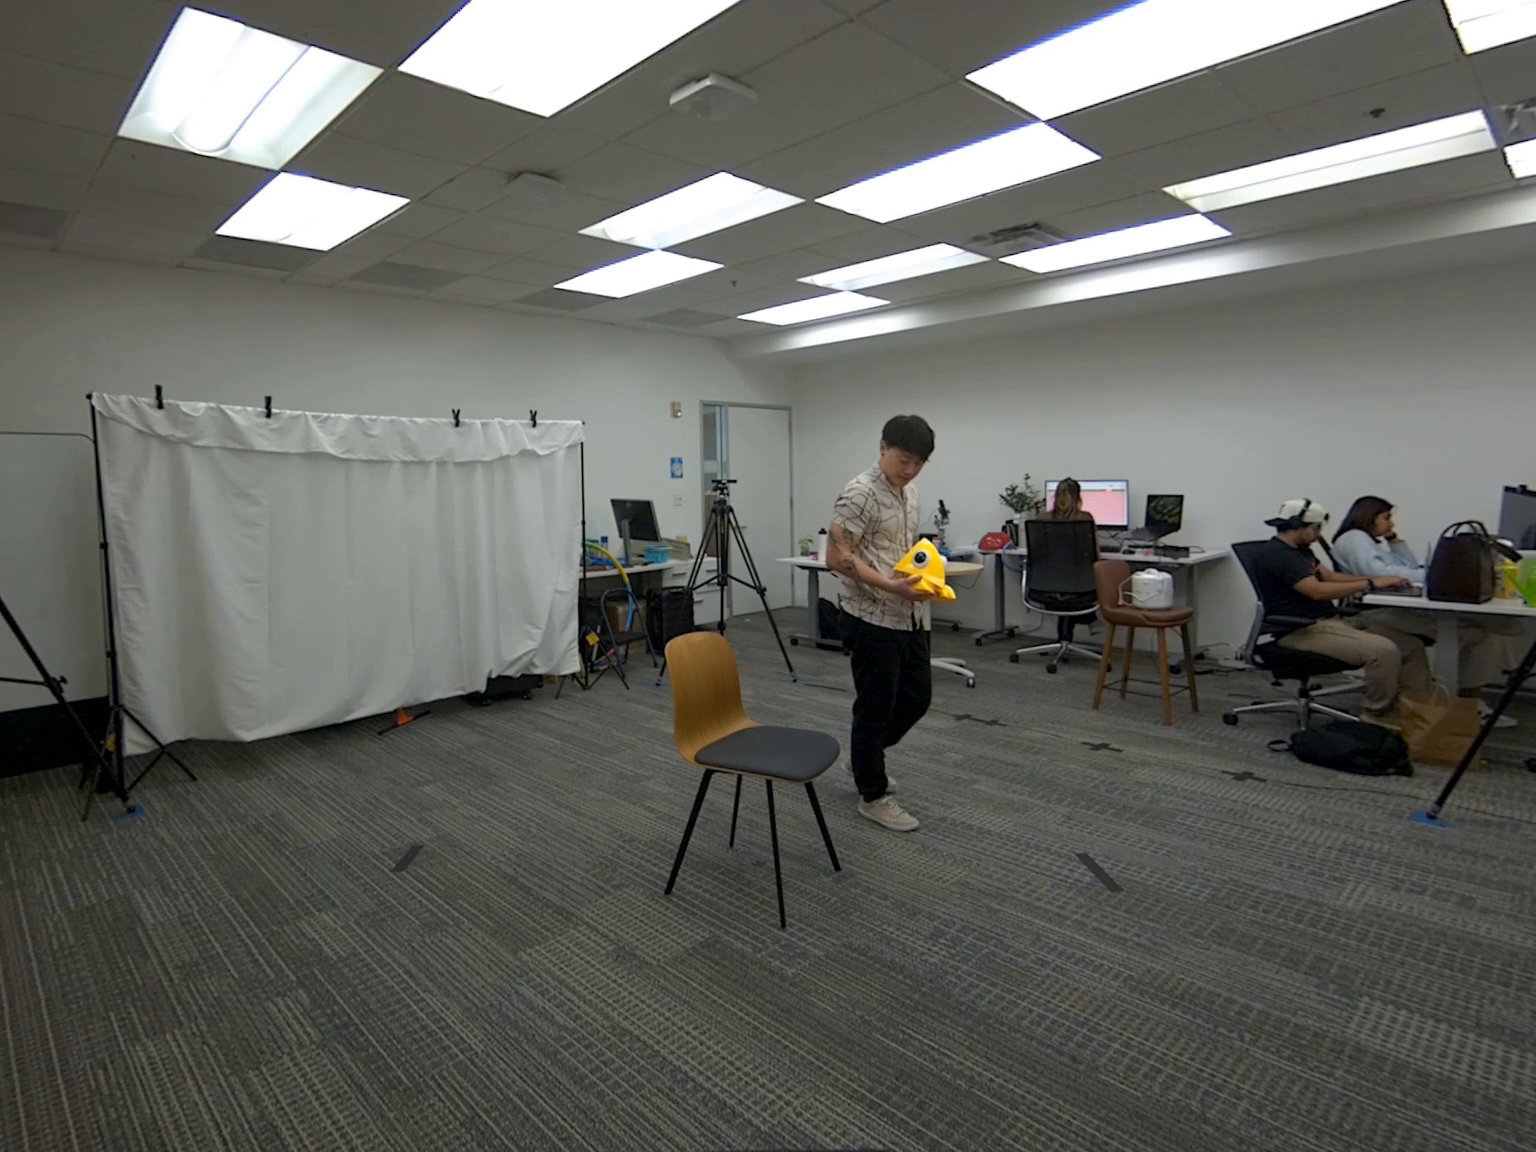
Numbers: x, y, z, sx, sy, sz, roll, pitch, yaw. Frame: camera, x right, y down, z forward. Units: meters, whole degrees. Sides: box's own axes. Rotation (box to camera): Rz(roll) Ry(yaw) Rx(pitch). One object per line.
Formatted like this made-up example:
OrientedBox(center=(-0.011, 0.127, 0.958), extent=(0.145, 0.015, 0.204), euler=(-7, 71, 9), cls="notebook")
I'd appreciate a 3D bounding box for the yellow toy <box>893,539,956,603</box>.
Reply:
OrientedBox(center=(0.606, -0.035, 3.262), extent=(0.199, 0.232, 0.197), euler=(17, -12, -27), cls="yellow toy")
